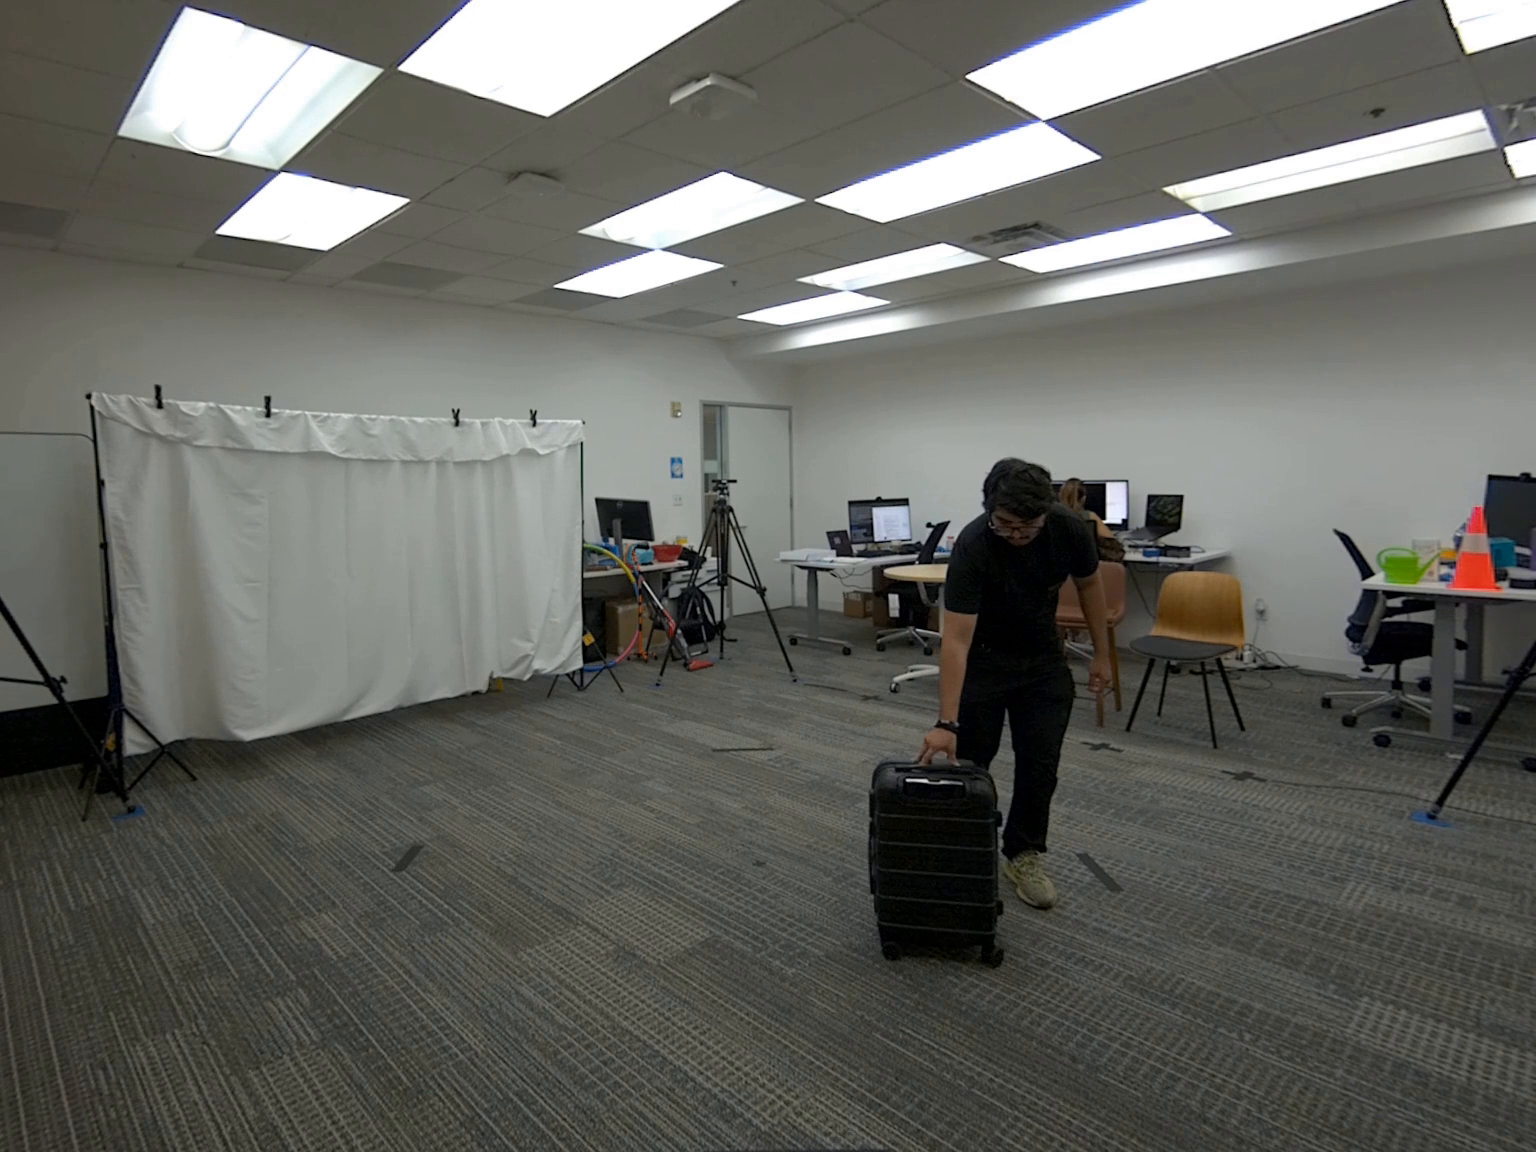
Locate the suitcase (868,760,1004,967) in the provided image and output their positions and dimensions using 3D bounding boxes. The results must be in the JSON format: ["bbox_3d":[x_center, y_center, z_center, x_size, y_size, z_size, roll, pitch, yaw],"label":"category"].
[{"bbox_3d":[0.503,0.826,2.553,0.380,0.548,0.246,-2,3,12],"label":"suitcase"}]
